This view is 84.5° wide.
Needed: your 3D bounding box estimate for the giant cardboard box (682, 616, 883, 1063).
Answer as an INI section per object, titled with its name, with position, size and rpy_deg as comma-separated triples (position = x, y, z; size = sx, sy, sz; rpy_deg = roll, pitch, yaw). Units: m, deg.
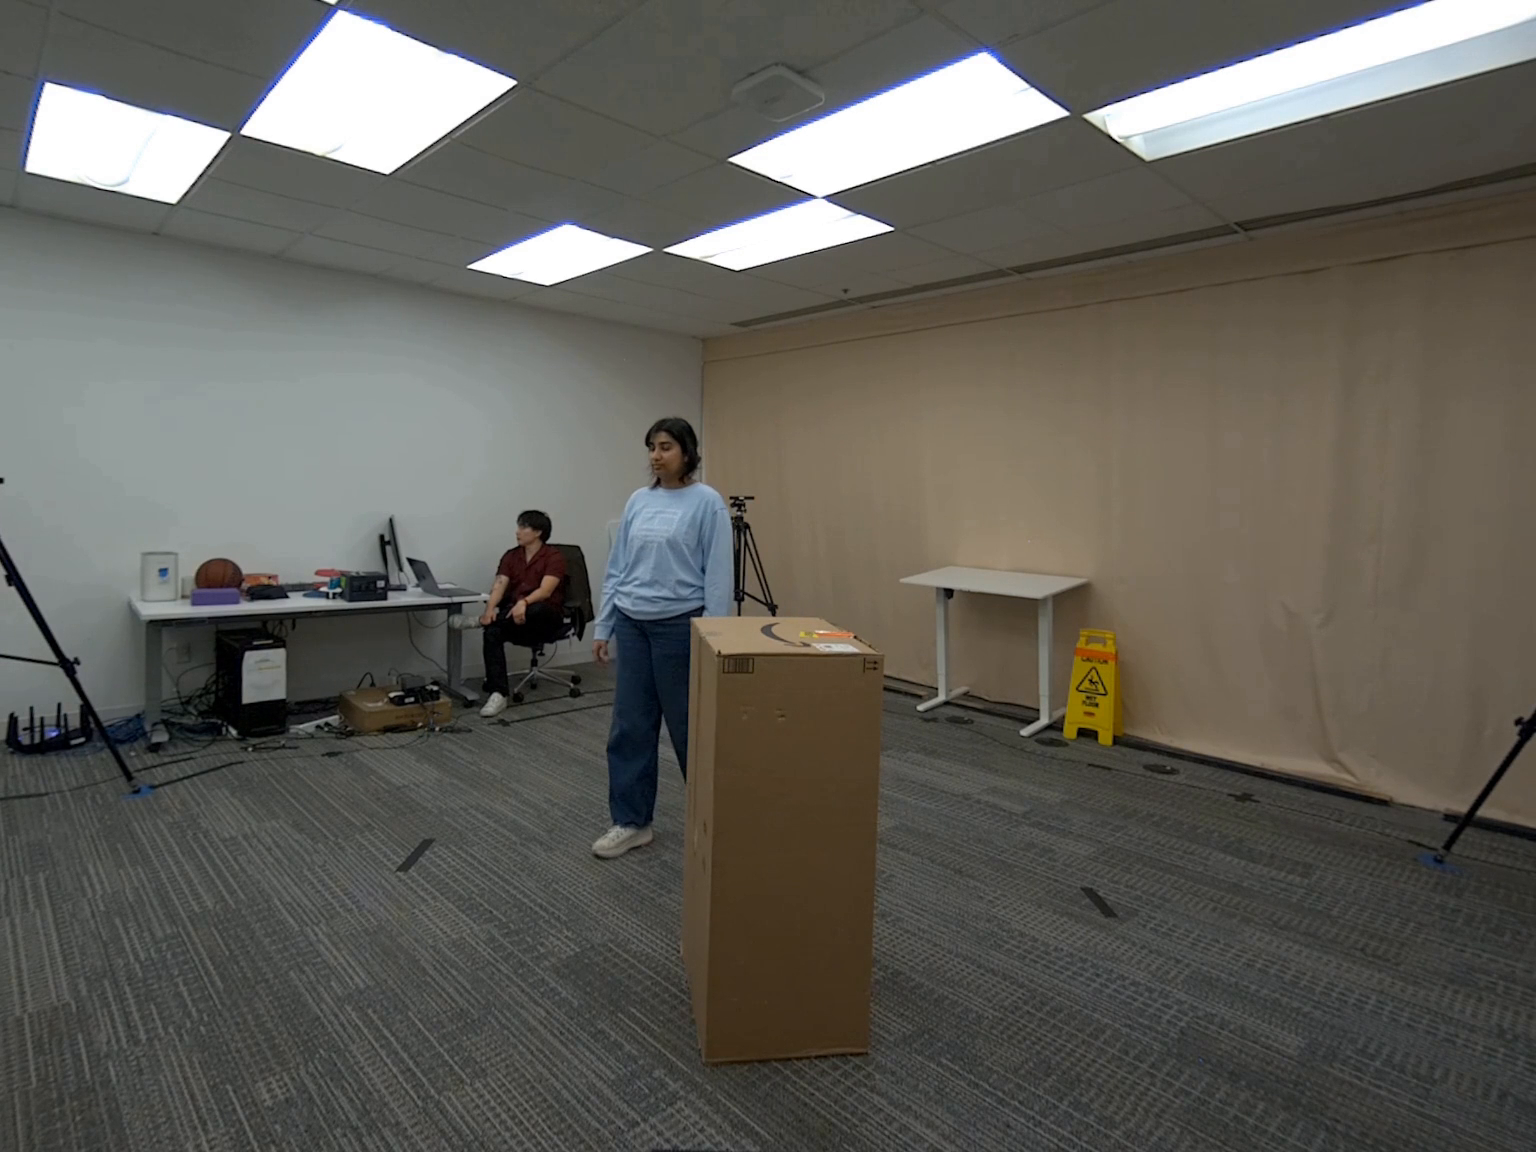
[giant cardboard box]
position = 0.013, 0.672, 2.339
size = 0.422, 1.023, 0.584
rpy_deg = 1, 4, -11
